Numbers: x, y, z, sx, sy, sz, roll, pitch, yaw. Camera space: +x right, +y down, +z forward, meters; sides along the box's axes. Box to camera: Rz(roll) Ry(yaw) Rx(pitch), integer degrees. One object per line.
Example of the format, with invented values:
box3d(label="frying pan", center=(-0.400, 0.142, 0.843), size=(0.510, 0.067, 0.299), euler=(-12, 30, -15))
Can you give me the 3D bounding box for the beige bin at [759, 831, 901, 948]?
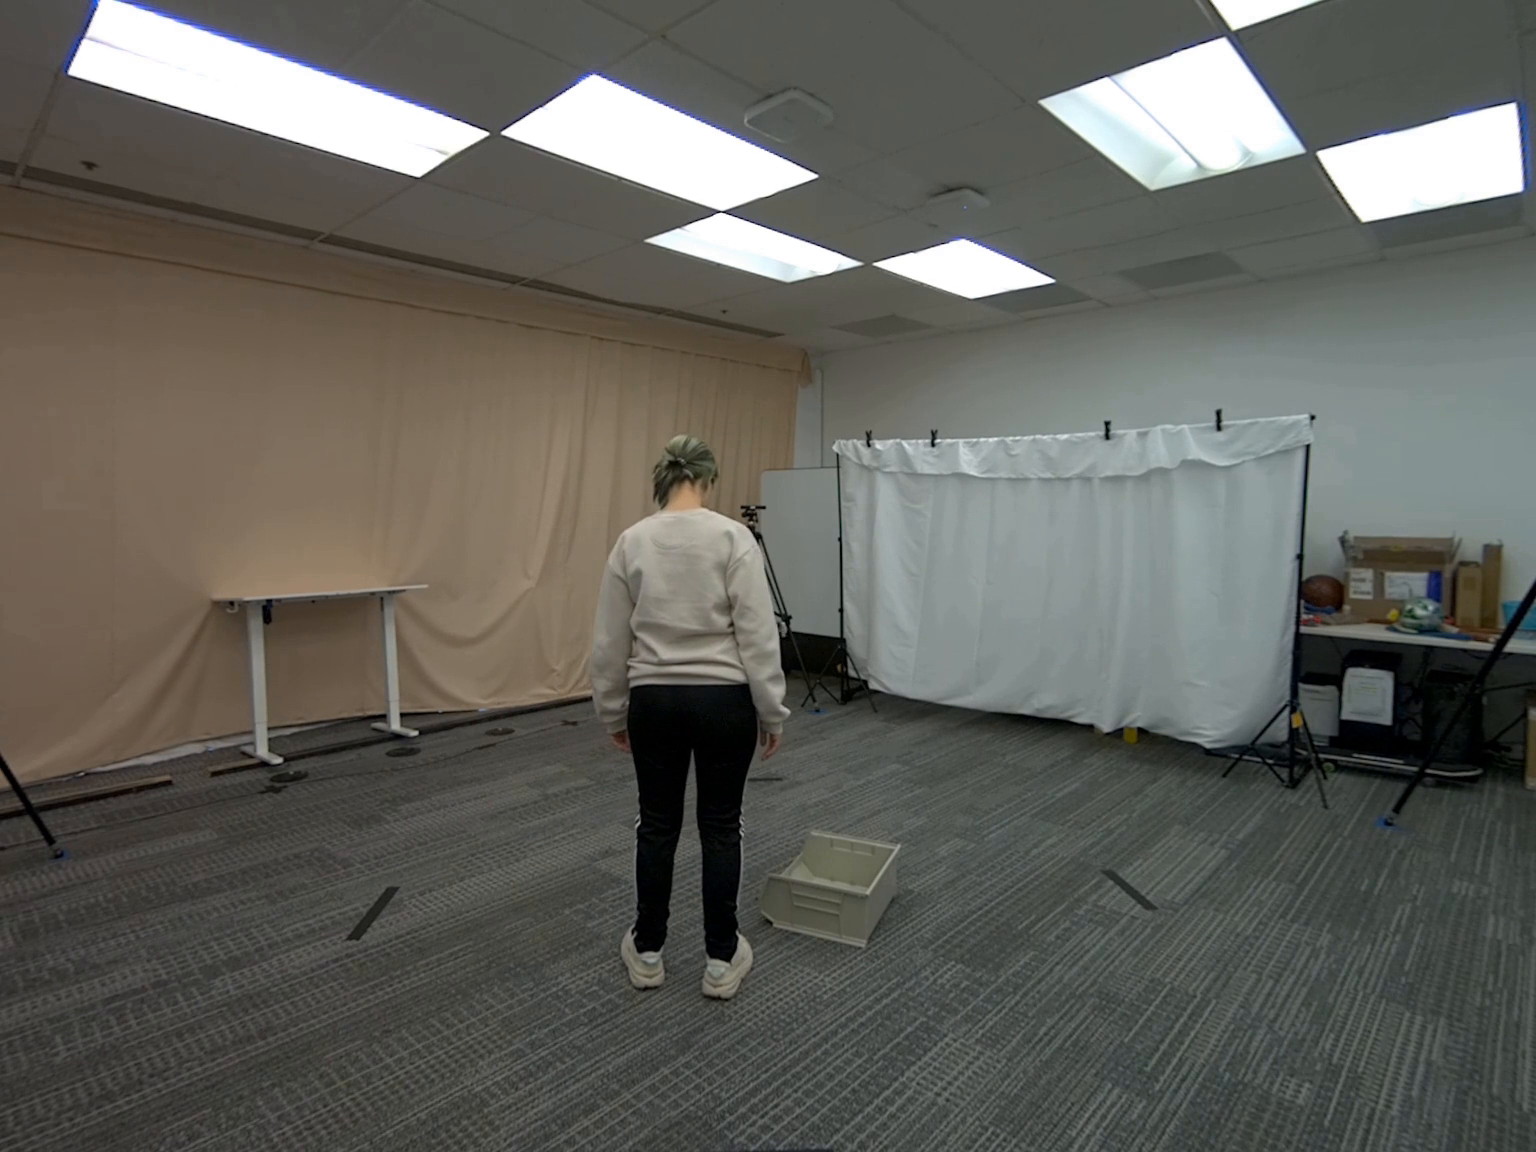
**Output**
box3d(label="beige bin", center=(0.225, 1.061, 2.902), size=(0.387, 0.188, 0.413), euler=(3, 5, 24))
